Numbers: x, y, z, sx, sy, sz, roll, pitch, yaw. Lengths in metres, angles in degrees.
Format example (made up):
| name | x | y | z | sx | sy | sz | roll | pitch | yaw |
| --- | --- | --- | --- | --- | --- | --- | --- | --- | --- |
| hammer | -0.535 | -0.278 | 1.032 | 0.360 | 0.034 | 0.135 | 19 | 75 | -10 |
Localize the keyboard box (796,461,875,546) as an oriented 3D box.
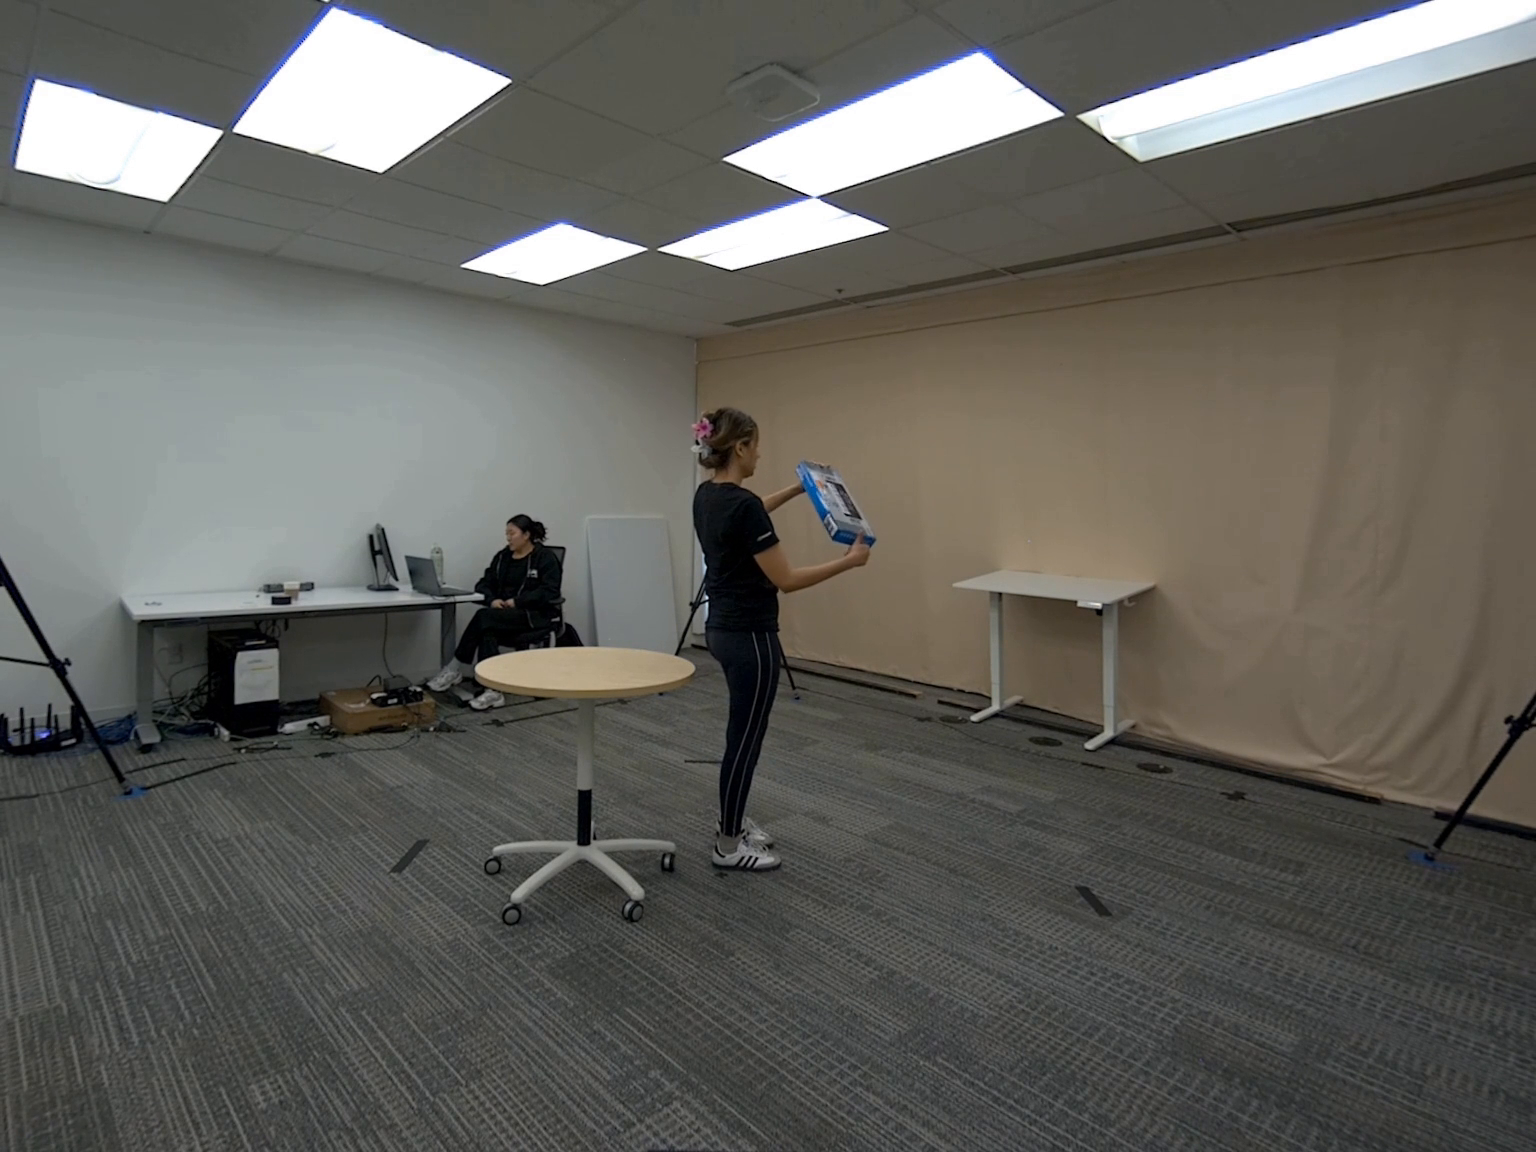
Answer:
| name | x | y | z | sx | sy | sz | roll | pitch | yaw |
| --- | --- | --- | --- | --- | --- | --- | --- | --- | --- |
| keyboard box | 0.243 | -0.278 | 3.208 | 0.172 | 0.059 | 0.450 | 12 | 37 | -30 |
